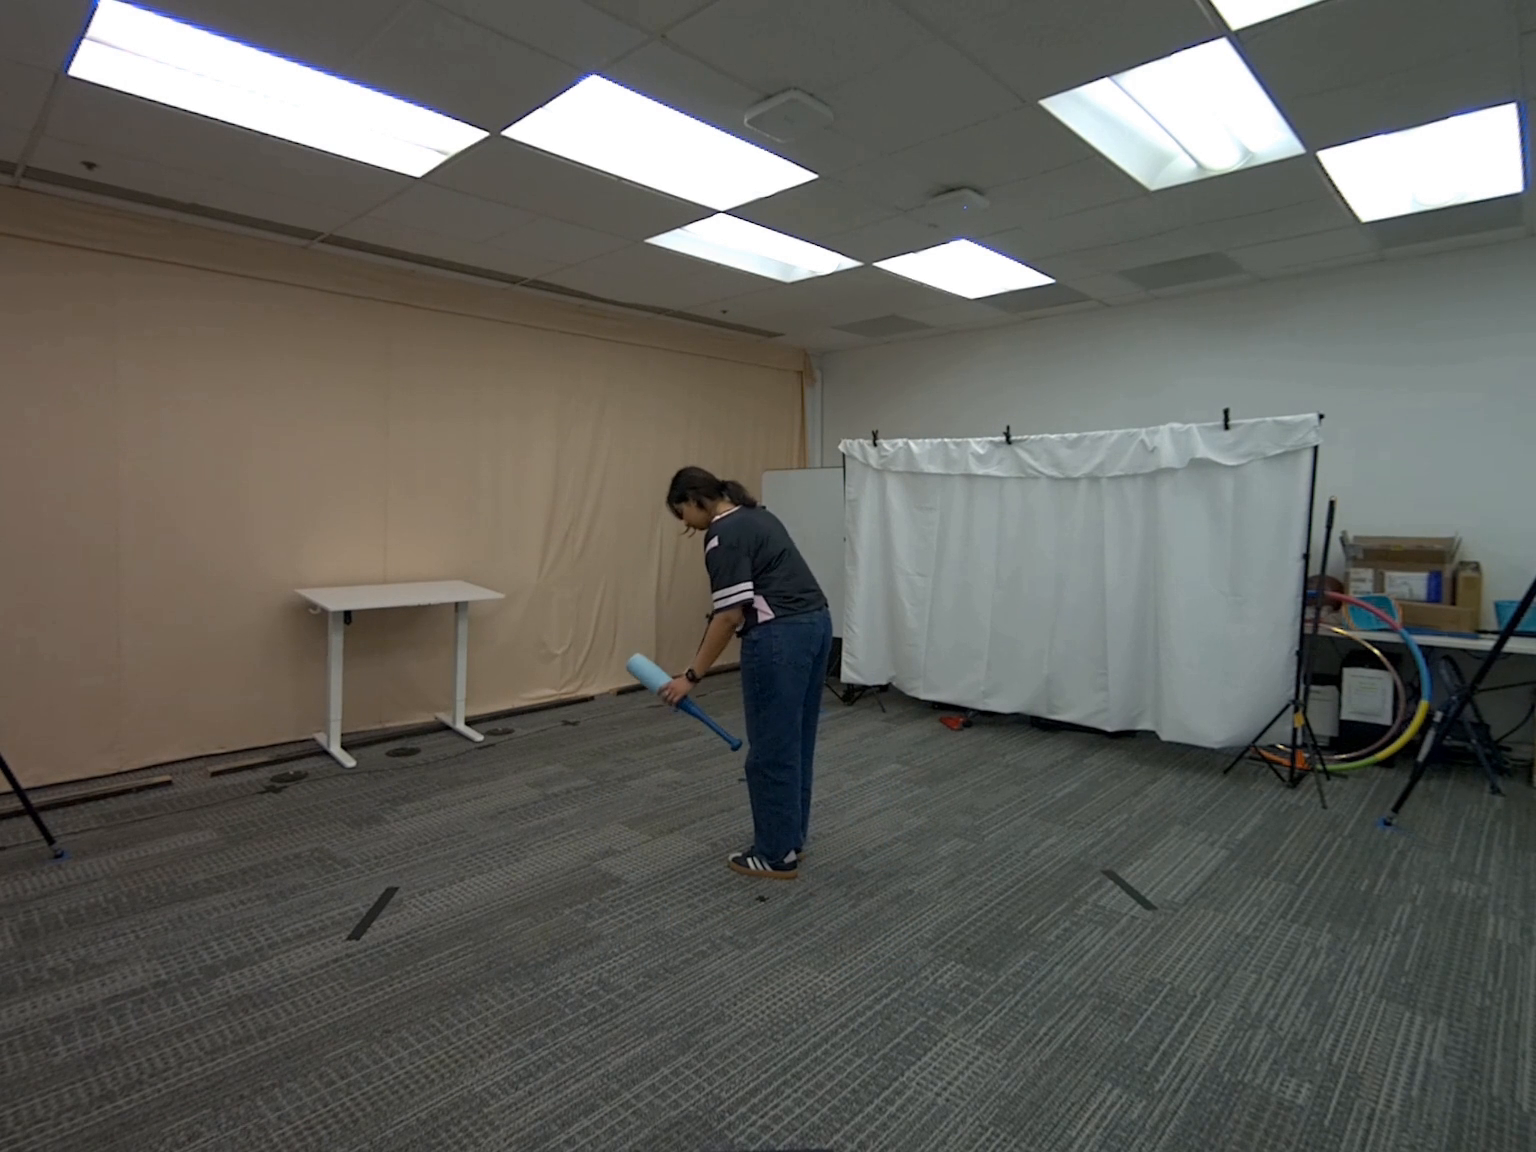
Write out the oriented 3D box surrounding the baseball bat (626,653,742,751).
[{"bbox_3d":[-0.313,0.482,3.138,0.558,0.089,0.087,34,18,23],"label":"baseball bat"}]
